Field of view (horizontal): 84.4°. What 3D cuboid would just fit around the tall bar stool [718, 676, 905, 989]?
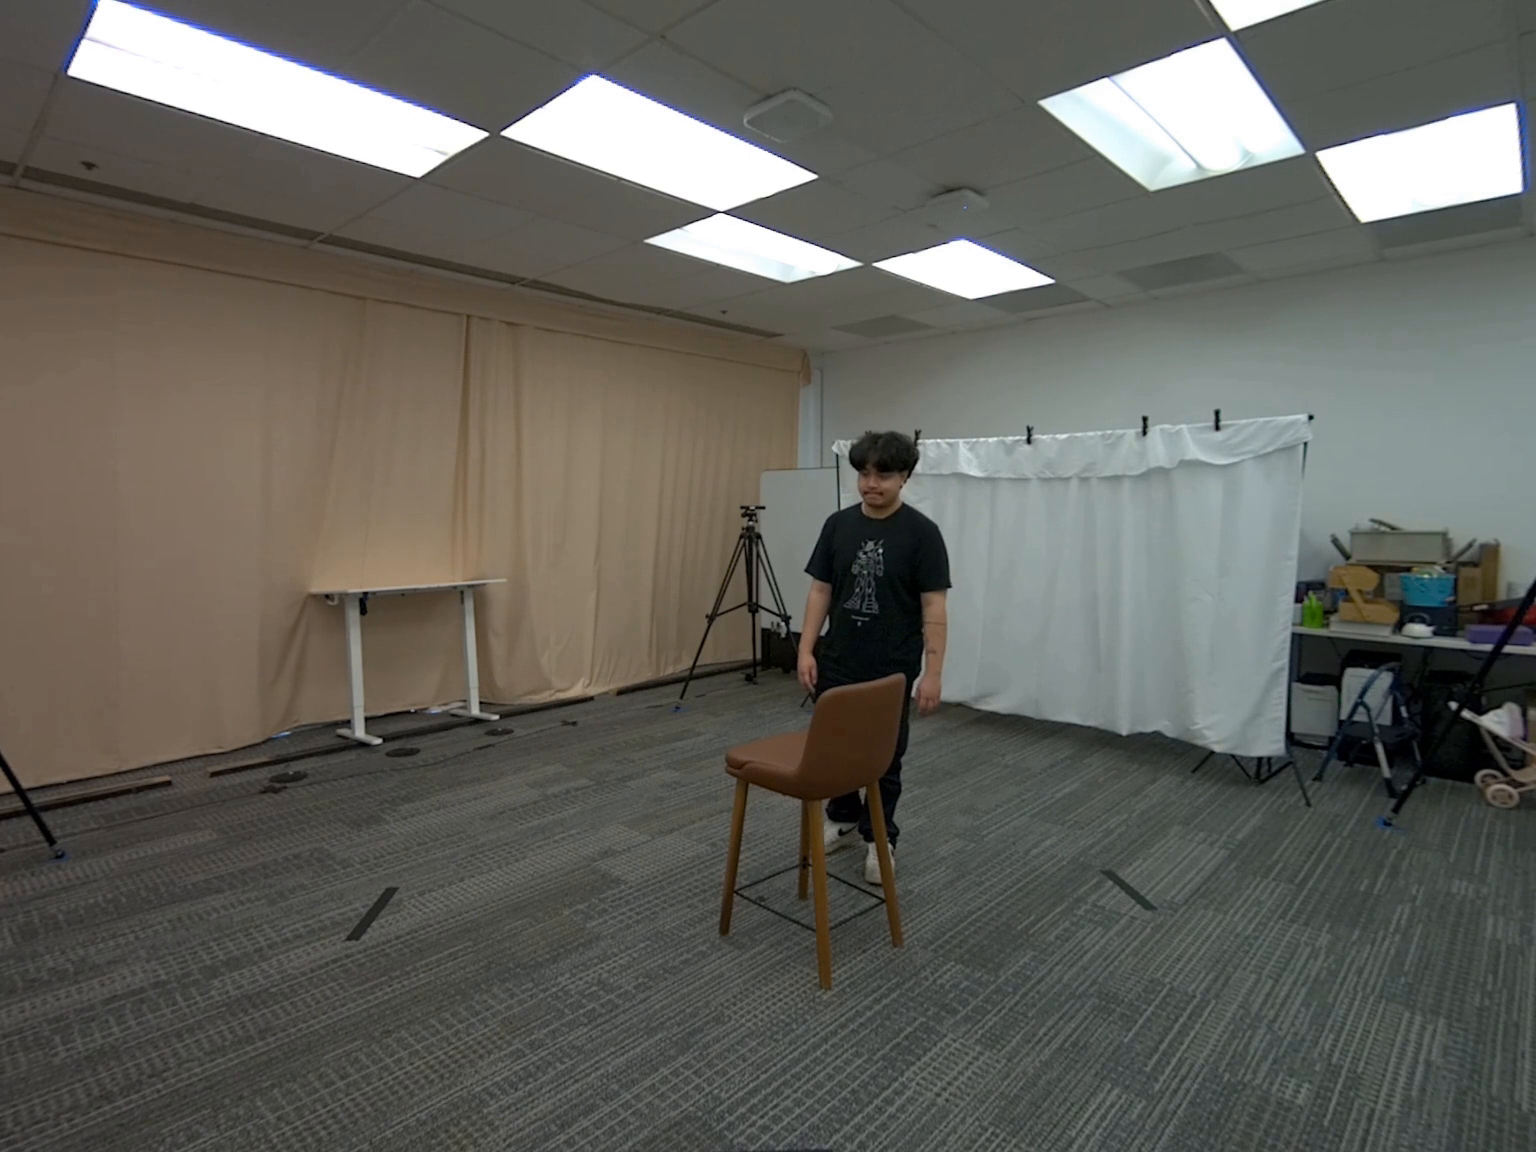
[{"bbox_3d":[0.144,0.735,2.677,0.442,0.887,0.484,-3,7,-43],"label":"tall bar stool"}]
